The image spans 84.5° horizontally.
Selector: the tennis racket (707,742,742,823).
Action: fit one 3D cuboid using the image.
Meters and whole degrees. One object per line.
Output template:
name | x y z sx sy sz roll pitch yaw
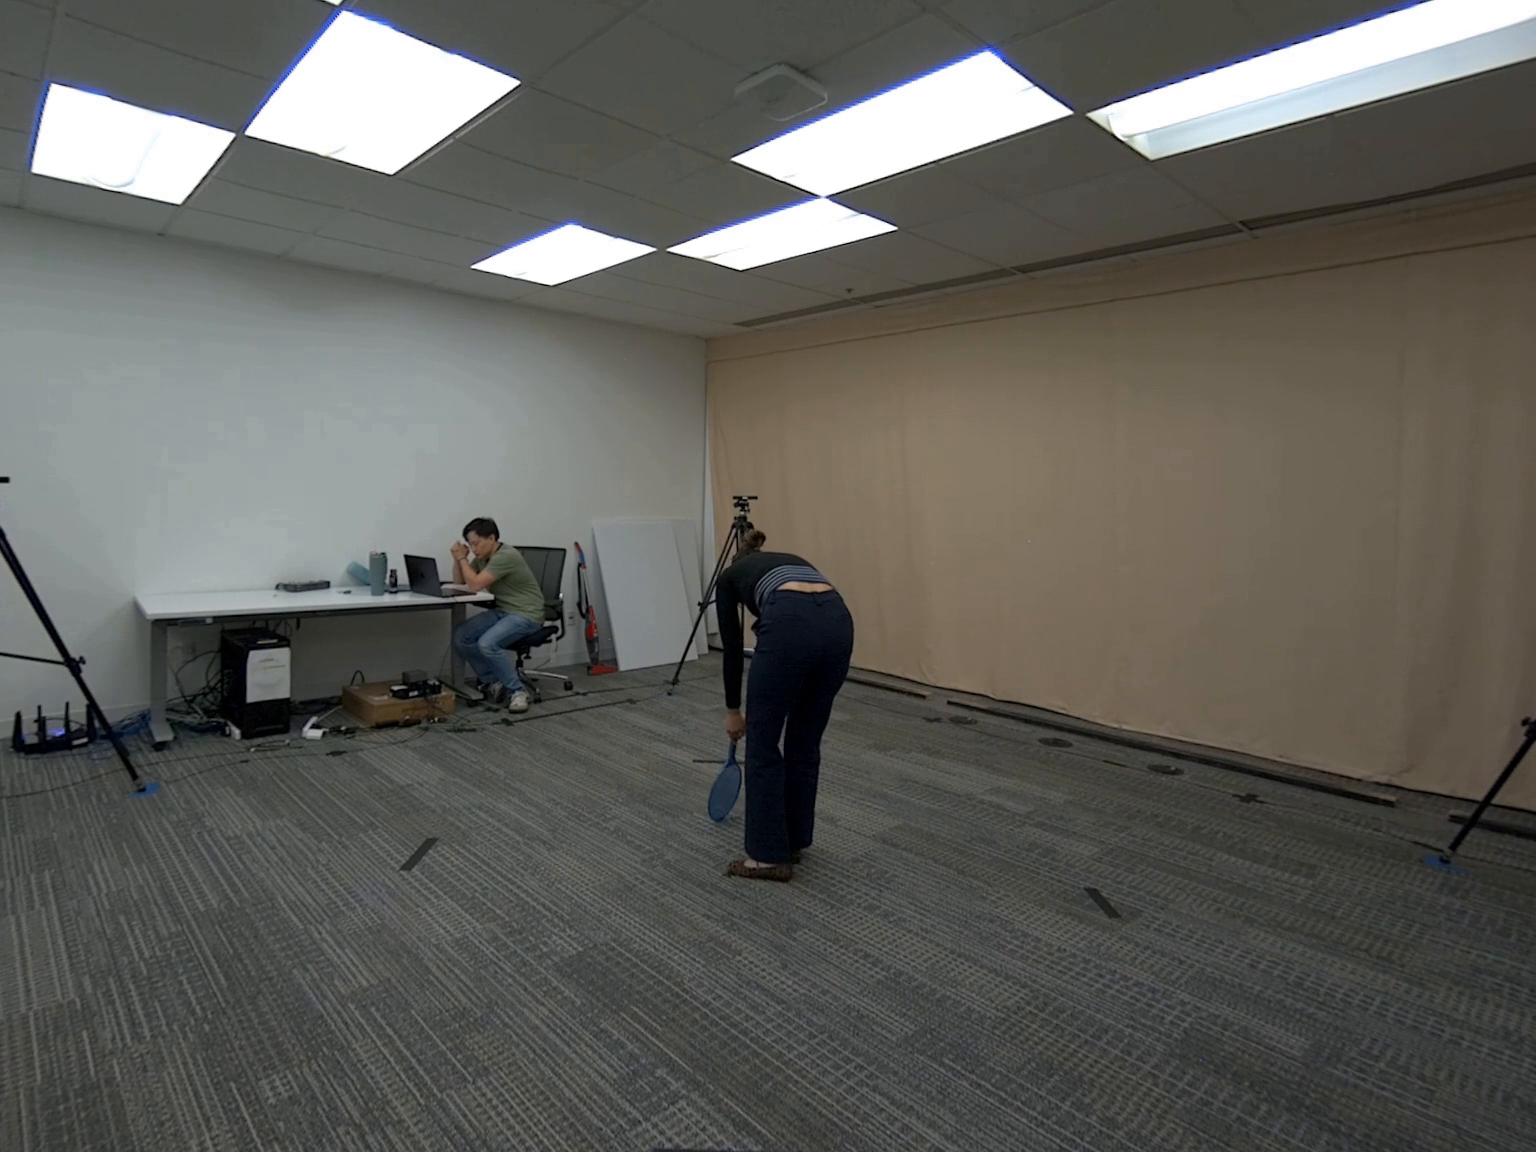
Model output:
tennis racket | -0.181 0.849 3.584 0.032 0.428 0.210 18 19 32
